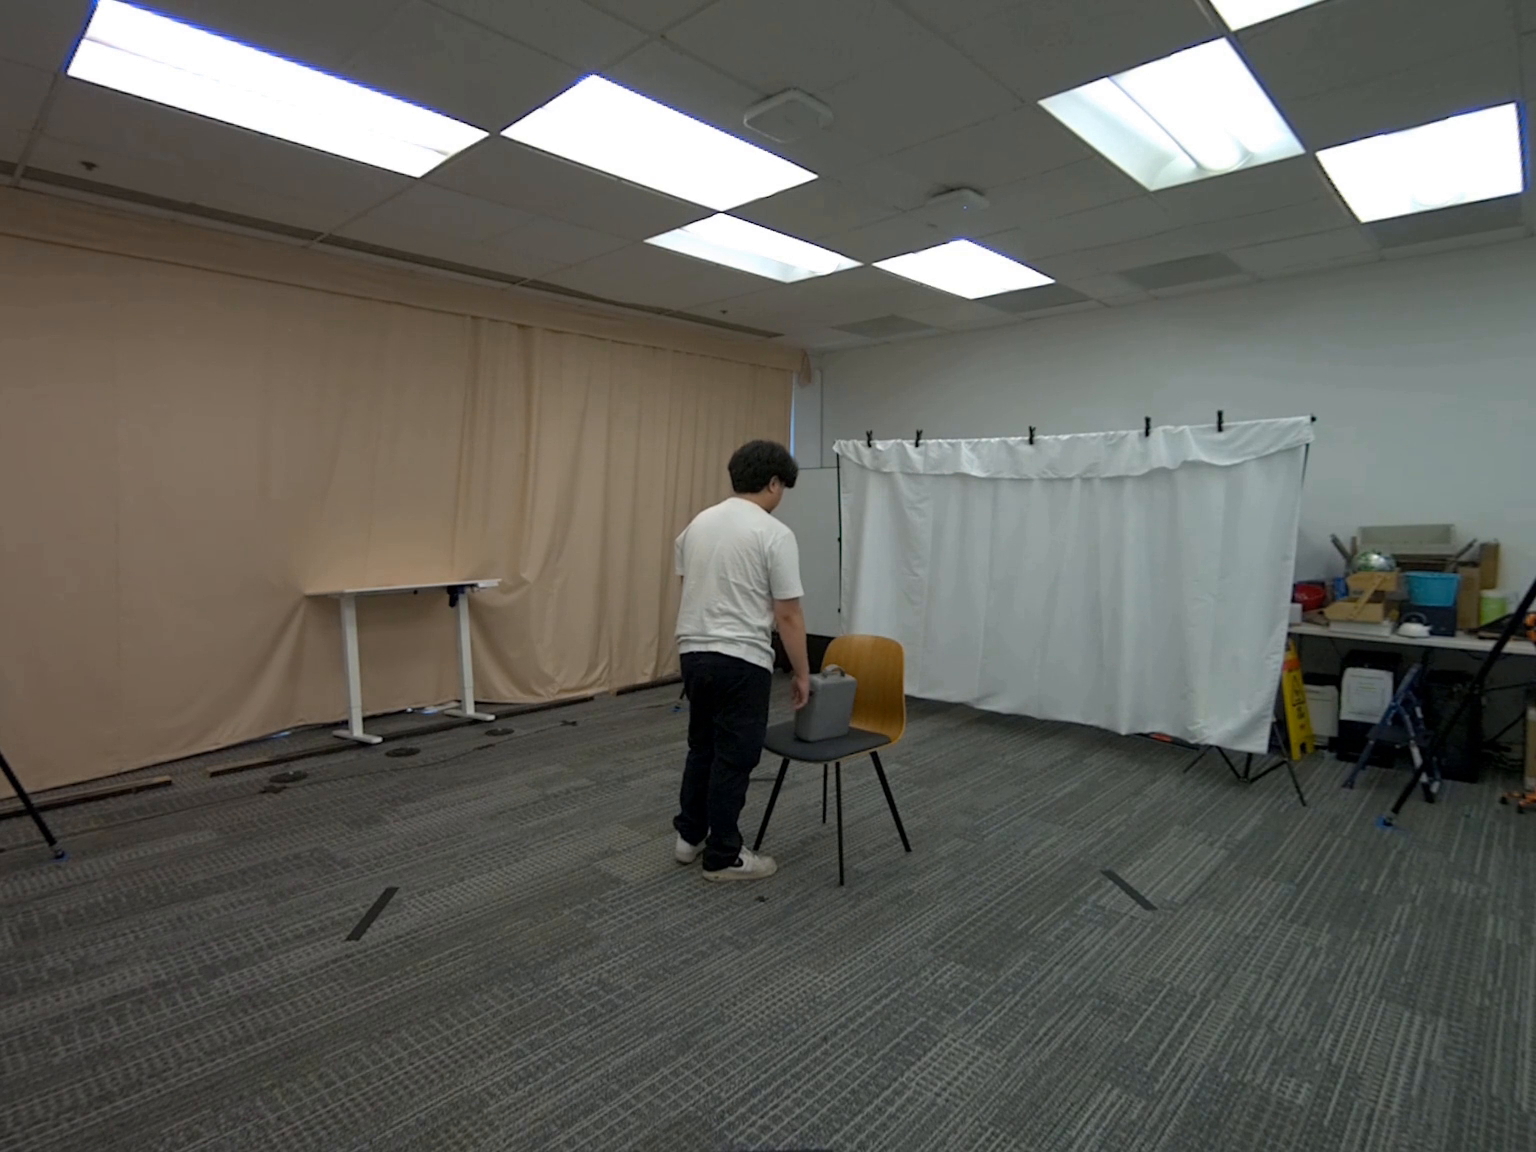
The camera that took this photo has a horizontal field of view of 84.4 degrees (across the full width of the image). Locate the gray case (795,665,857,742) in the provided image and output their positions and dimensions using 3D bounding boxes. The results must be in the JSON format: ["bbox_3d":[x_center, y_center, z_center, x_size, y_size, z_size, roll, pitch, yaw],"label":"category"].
[{"bbox_3d":[0.227,0.511,3.321,0.248,0.260,0.108,2,11,-44],"label":"gray case"}]
